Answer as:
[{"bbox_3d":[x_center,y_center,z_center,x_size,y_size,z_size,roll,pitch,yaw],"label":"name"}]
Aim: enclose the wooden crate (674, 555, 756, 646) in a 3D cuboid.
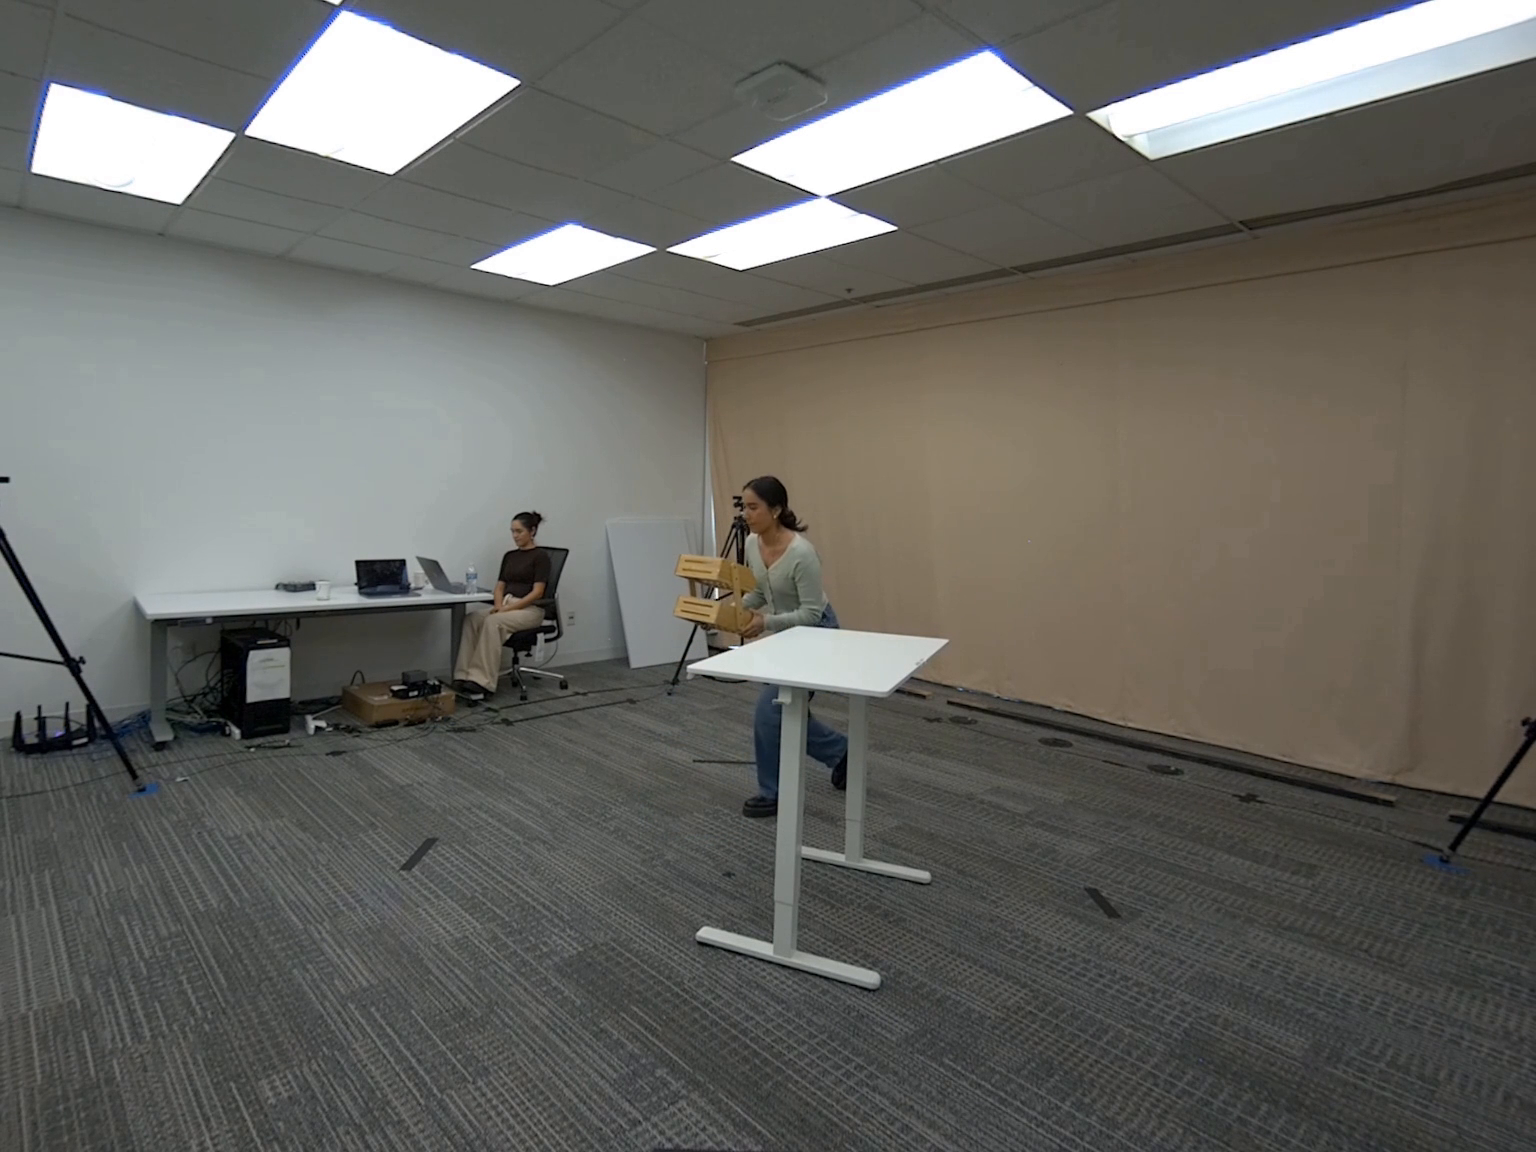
[{"bbox_3d":[-0.210,0.080,3.536,0.293,0.274,0.333,22,-10,-39],"label":"wooden crate"}]
